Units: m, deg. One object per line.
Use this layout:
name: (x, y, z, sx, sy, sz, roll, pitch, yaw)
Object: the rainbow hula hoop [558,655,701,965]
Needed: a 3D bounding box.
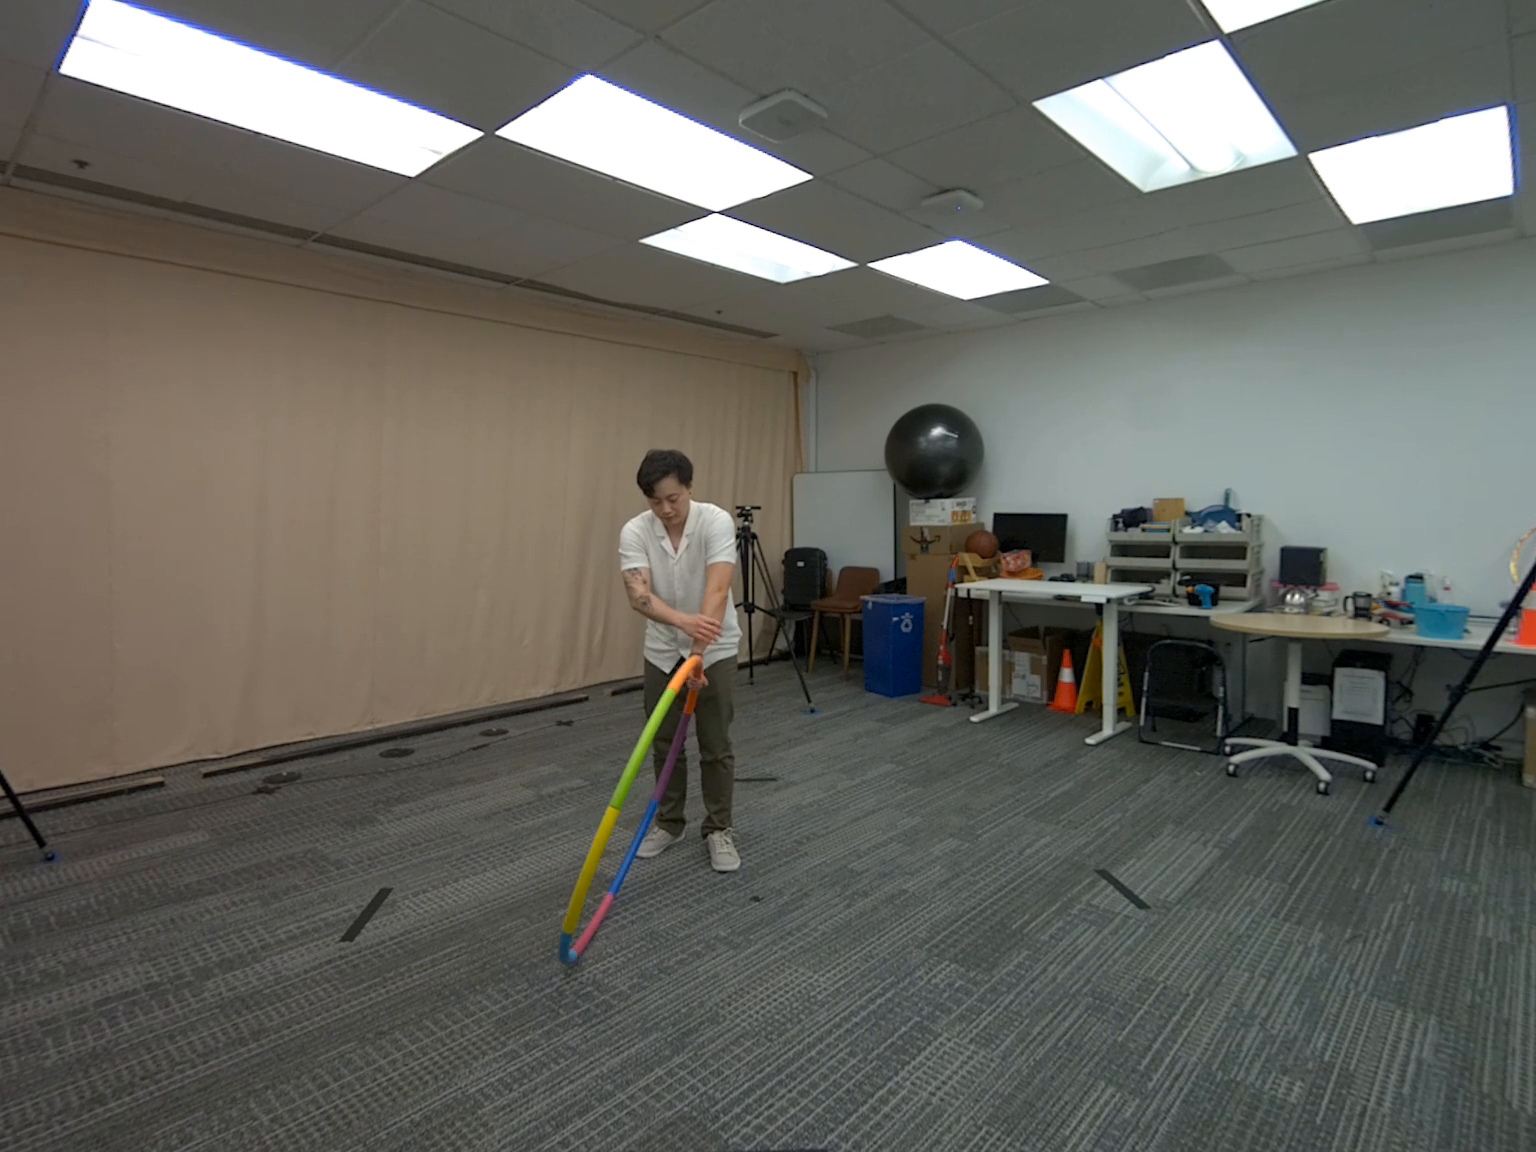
rainbow hula hoop: (-0.408, 0.716, 2.654, 0.036, 0.977, 0.972, 23, 7, 4)
